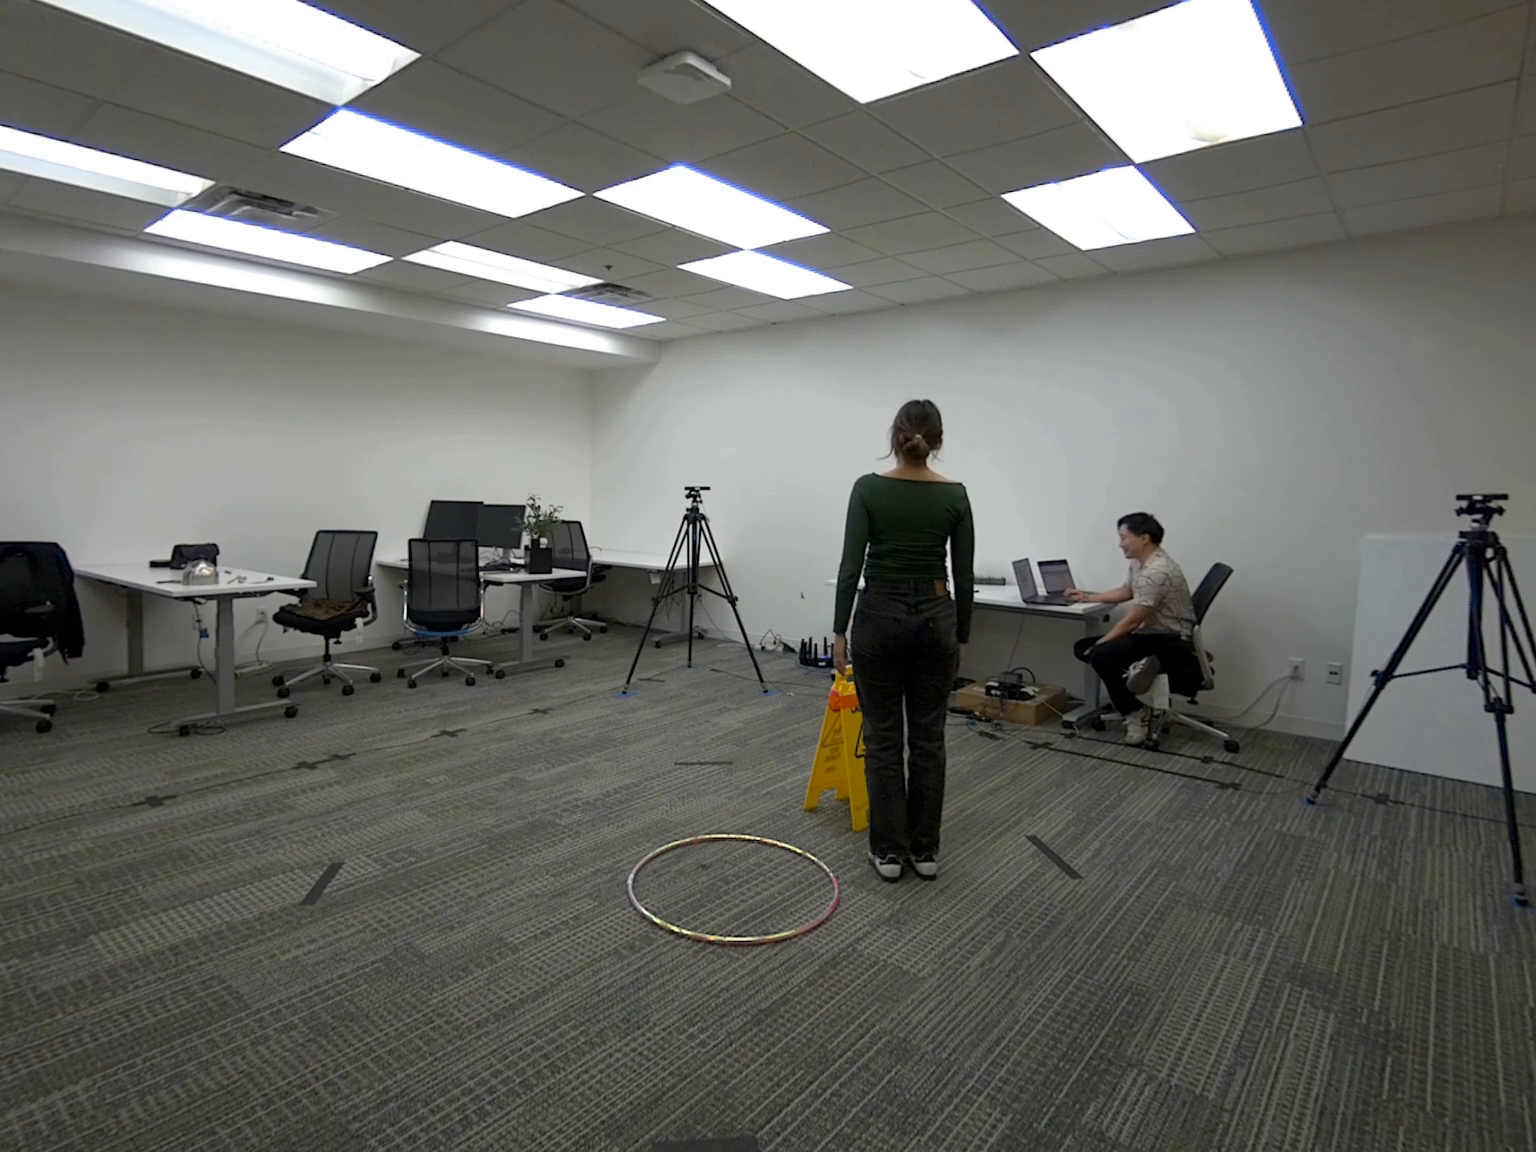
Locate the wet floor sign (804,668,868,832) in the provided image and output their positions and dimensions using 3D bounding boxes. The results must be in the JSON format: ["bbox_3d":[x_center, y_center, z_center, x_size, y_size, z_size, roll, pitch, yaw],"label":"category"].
[{"bbox_3d":[0.353,0.697,3.645,0.274,0.644,0.300,-2,5,-42],"label":"wet floor sign"}]
